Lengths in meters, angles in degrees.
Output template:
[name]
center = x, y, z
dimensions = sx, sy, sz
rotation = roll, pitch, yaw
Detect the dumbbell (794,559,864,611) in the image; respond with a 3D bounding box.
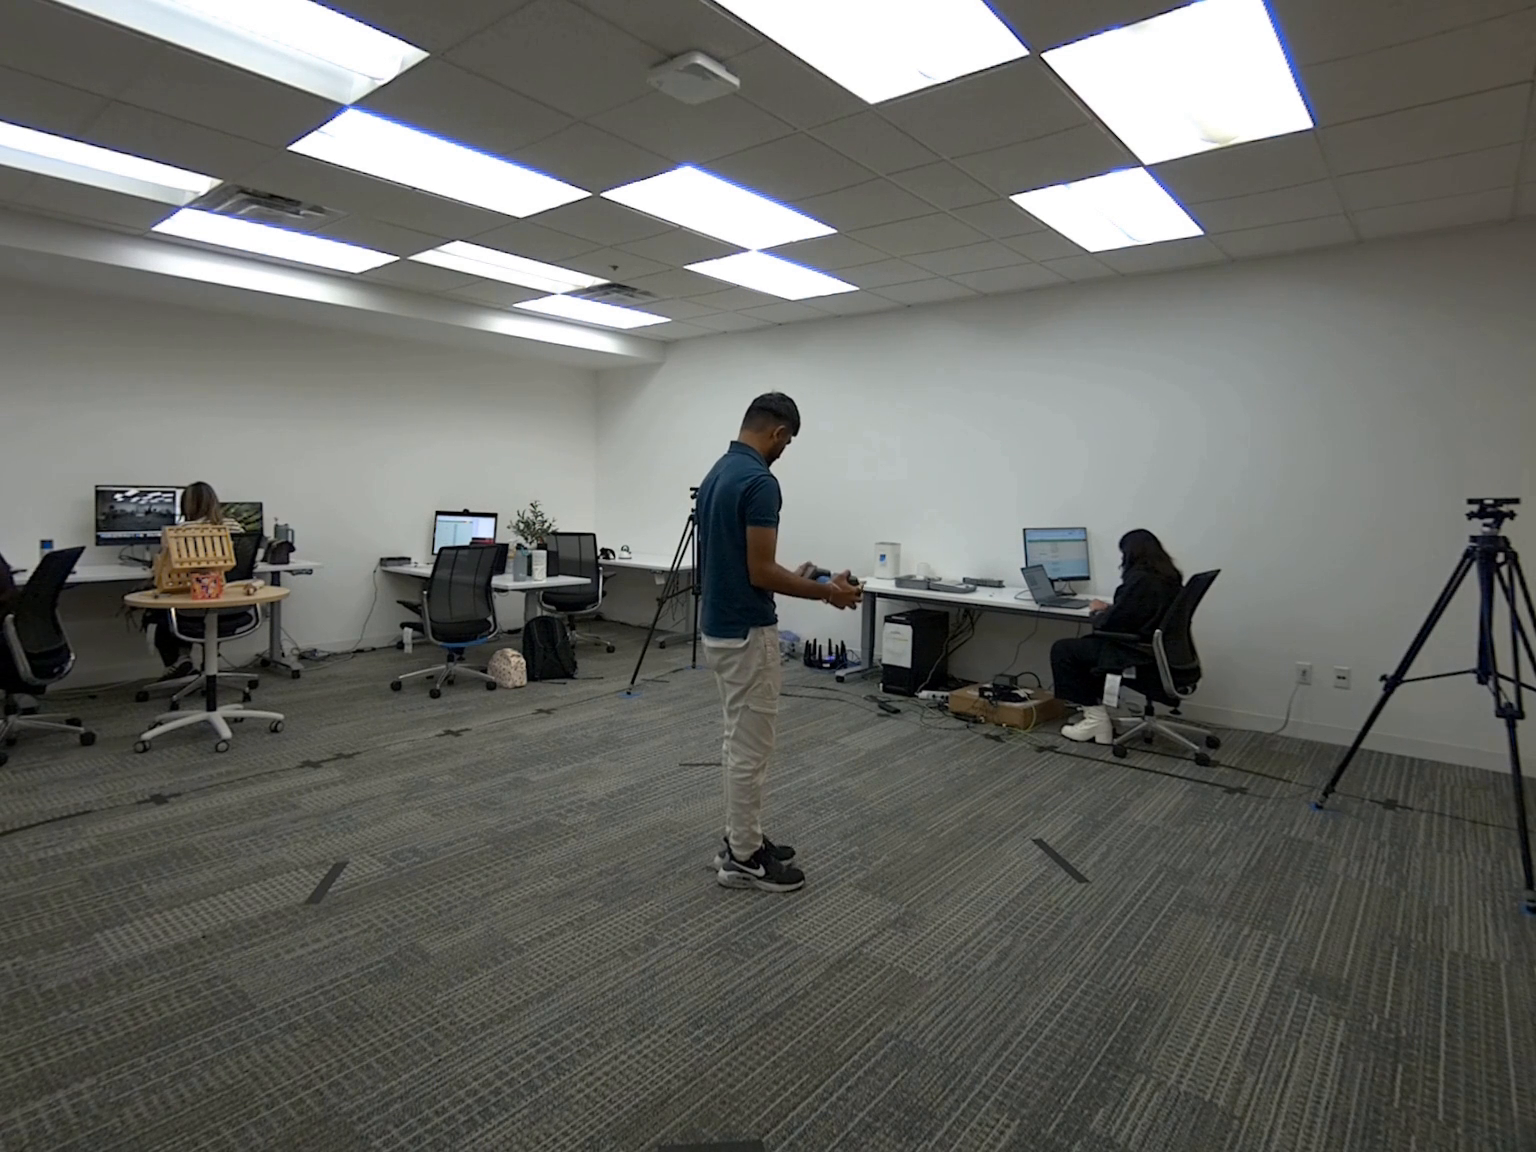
[dumbbell]
center = 0.215, 0.027, 3.046
dimensions = 0.107, 0.121, 0.300
rotation = -21, 11, -16
